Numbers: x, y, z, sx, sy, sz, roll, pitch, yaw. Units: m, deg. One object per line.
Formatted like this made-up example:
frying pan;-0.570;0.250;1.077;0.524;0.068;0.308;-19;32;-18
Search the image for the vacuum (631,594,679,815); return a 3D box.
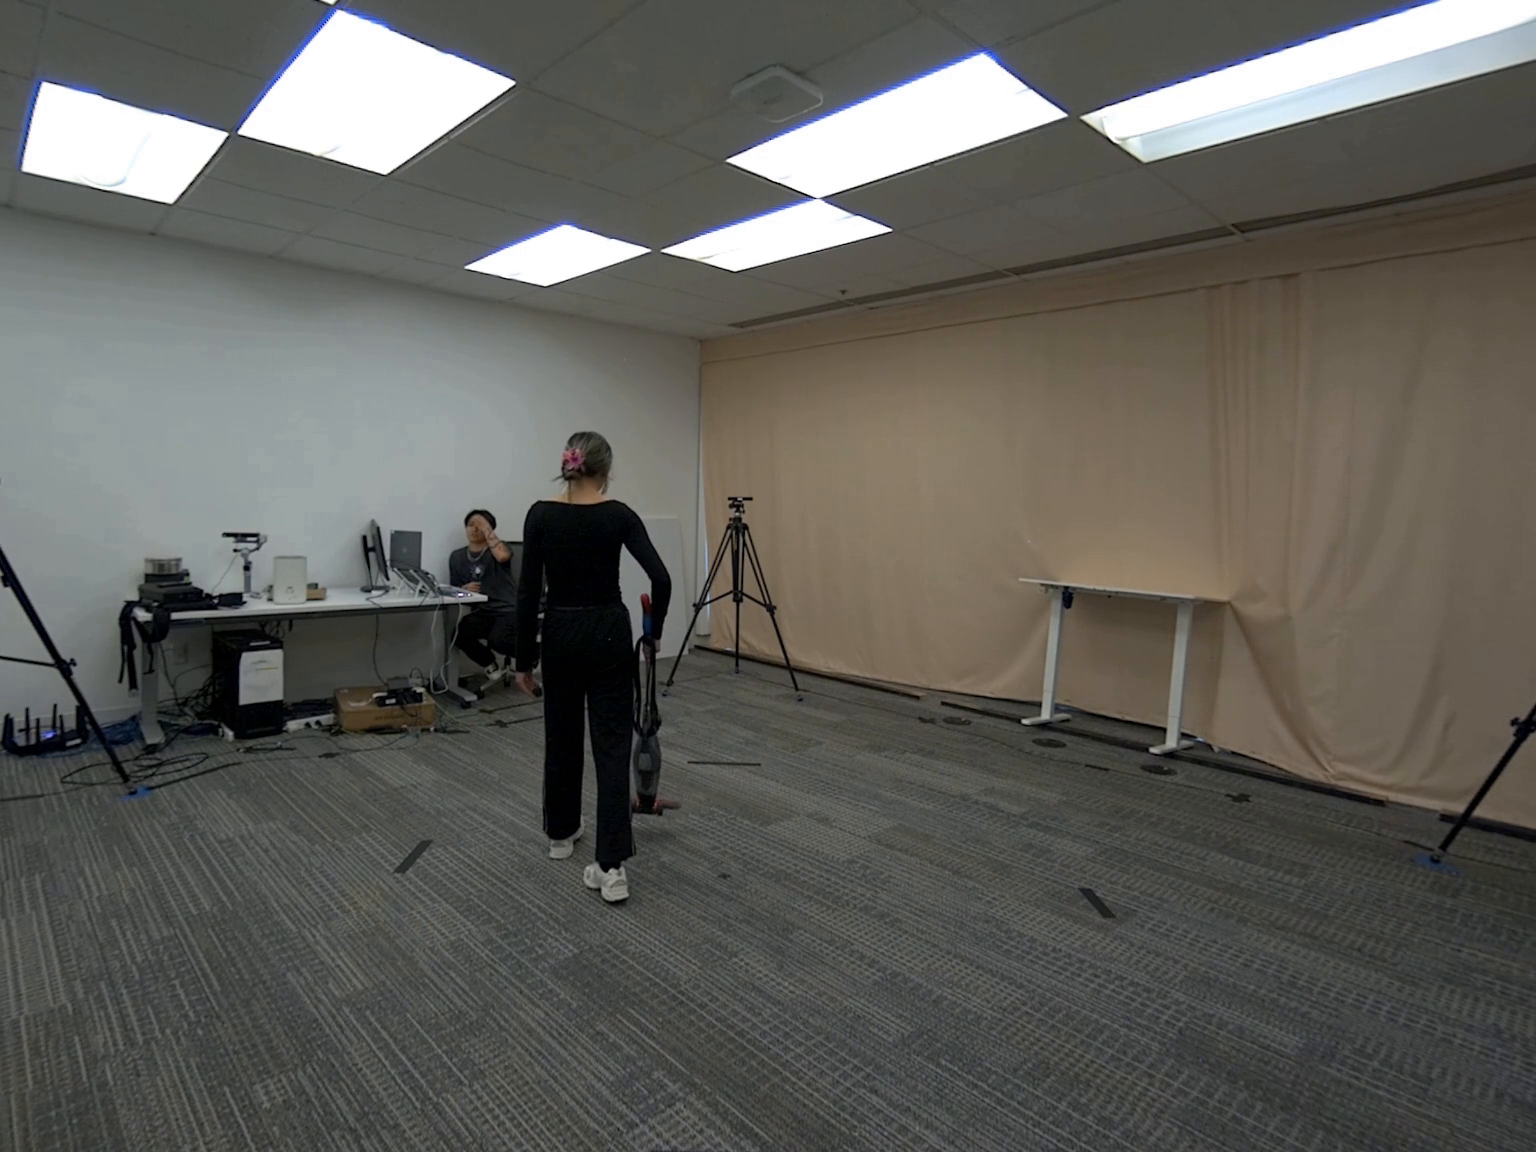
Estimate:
vacuum;-0.466;0.518;3.203;0.253;1.030;0.146;7;31;4
